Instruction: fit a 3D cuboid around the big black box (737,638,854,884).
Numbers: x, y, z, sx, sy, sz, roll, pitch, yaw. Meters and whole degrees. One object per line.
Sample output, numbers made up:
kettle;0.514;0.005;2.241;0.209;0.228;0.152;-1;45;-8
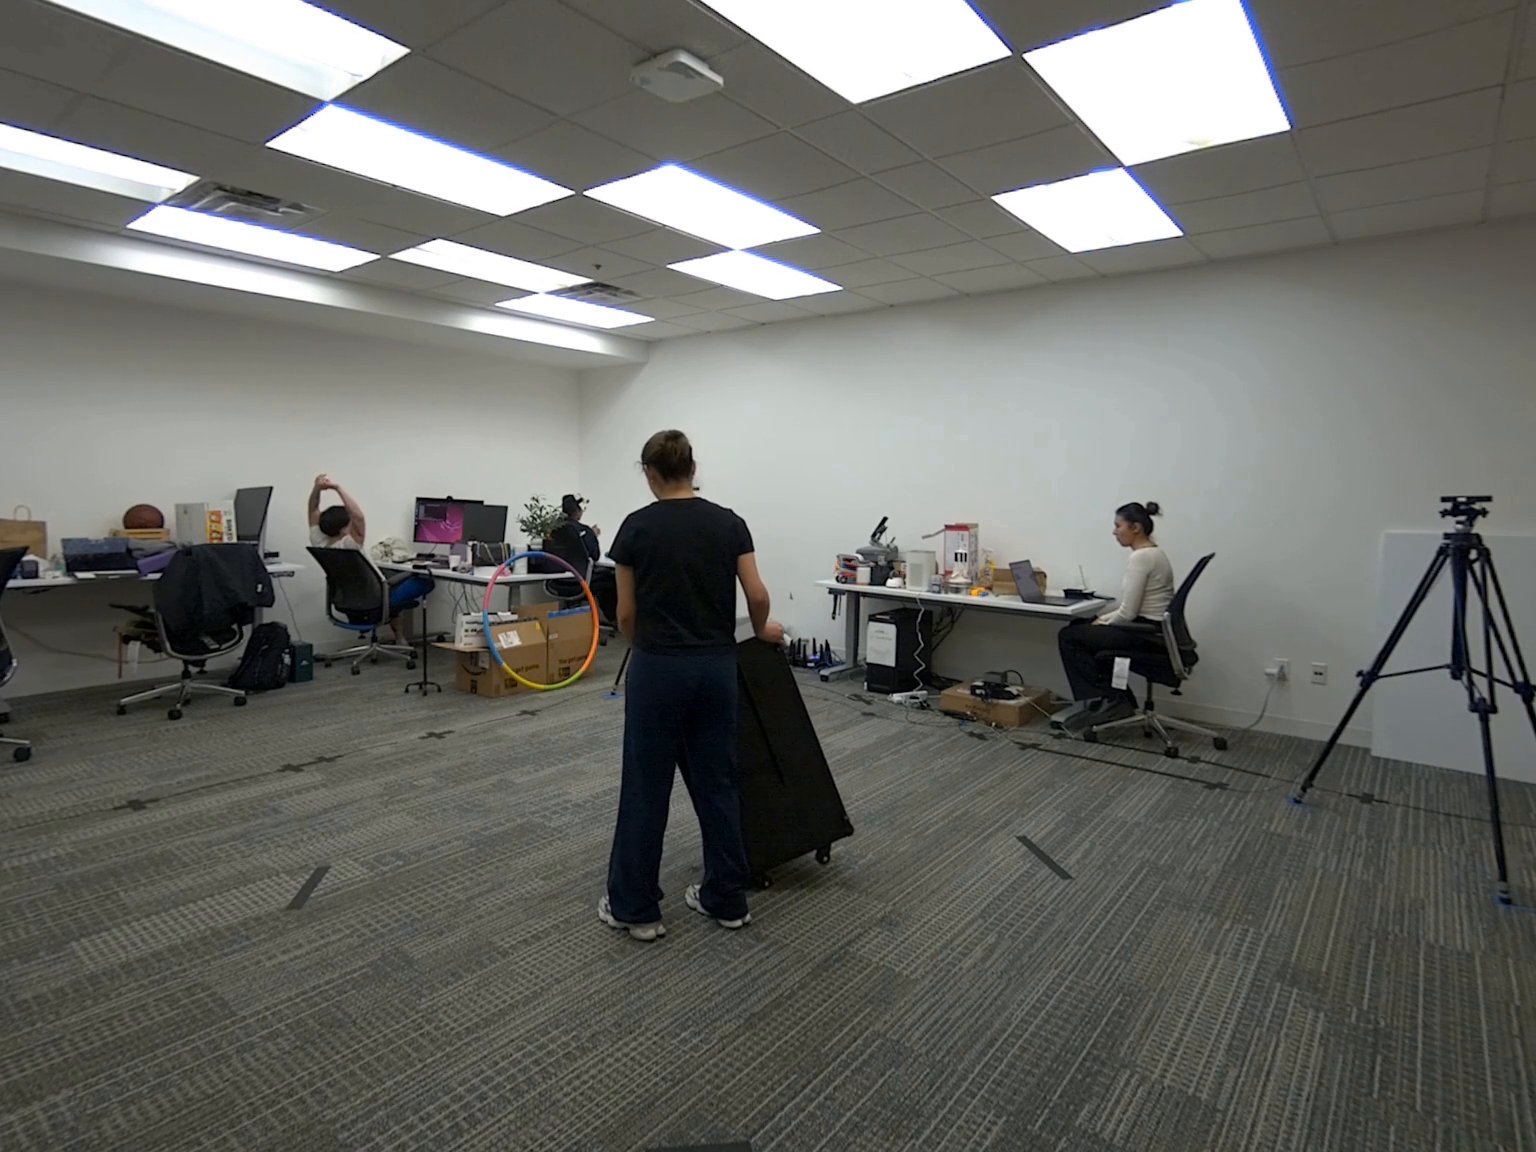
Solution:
big black box;-0.051;0.634;3.079;0.519;0.856;0.400;-22;6;-6
